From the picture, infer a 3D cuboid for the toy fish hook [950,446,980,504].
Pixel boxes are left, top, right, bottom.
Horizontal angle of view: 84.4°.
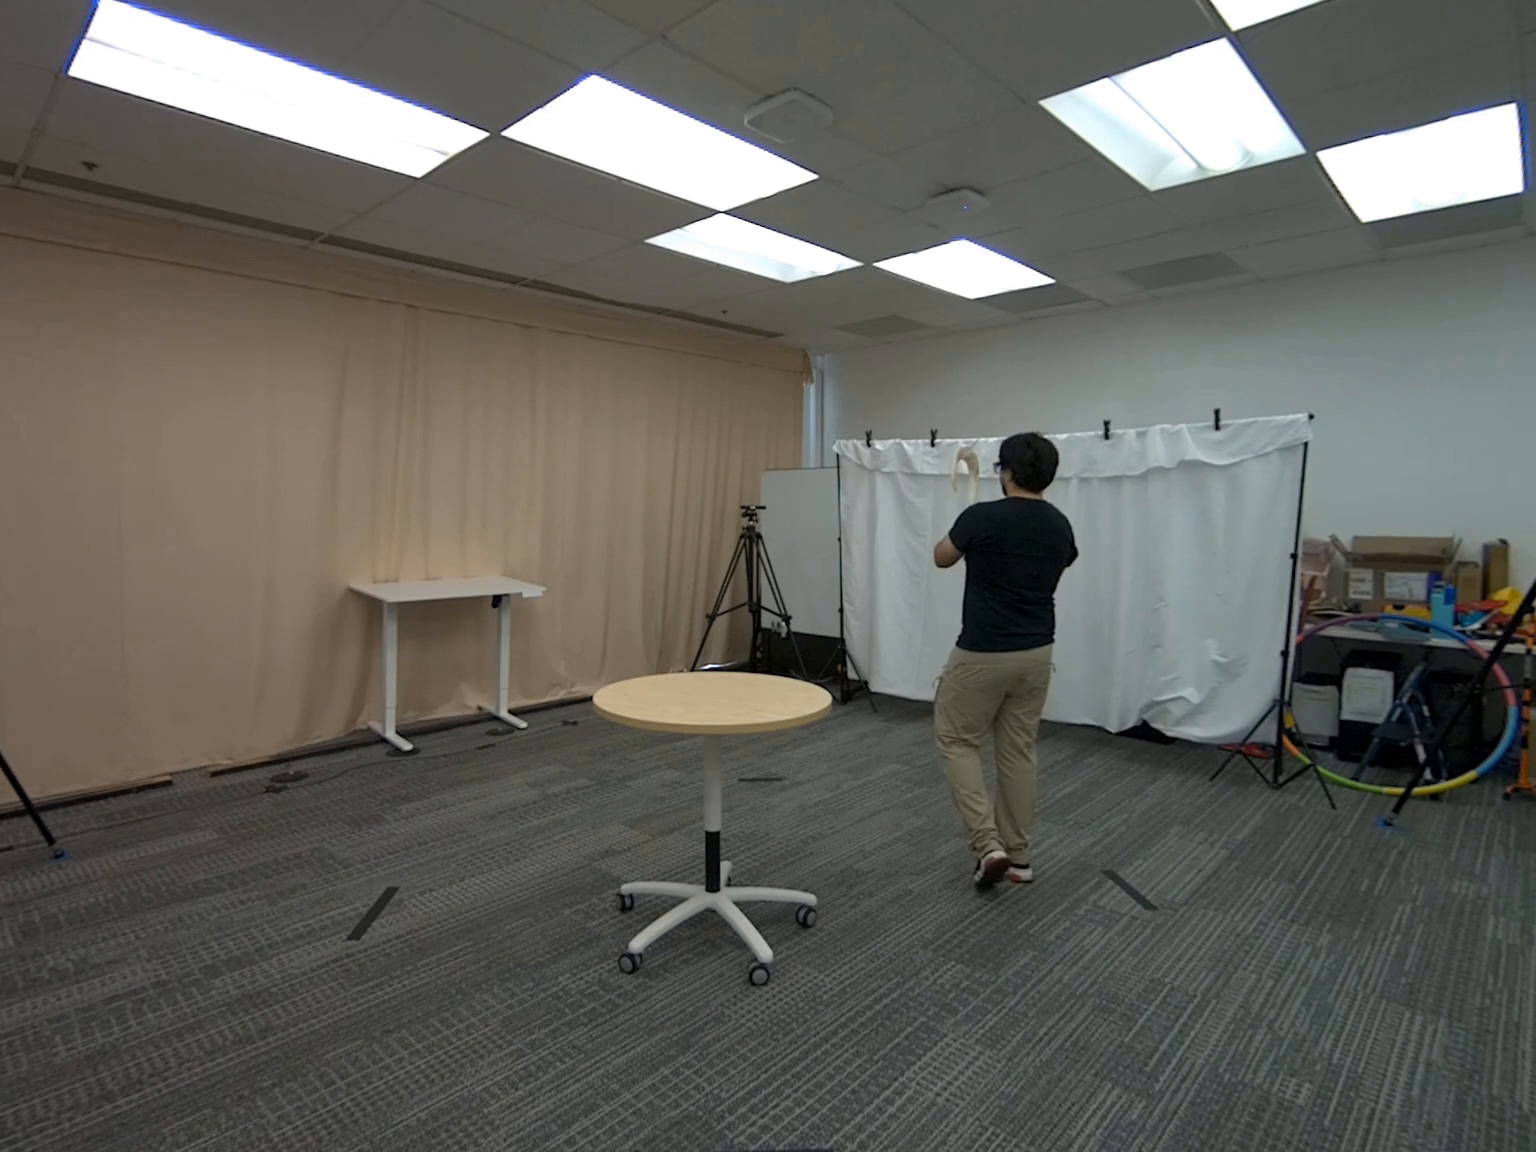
[{"bbox_3d":[0.827,-0.290,3.496,0.050,0.507,0.218,-4,-1,44],"label":"toy fish hook"}]
